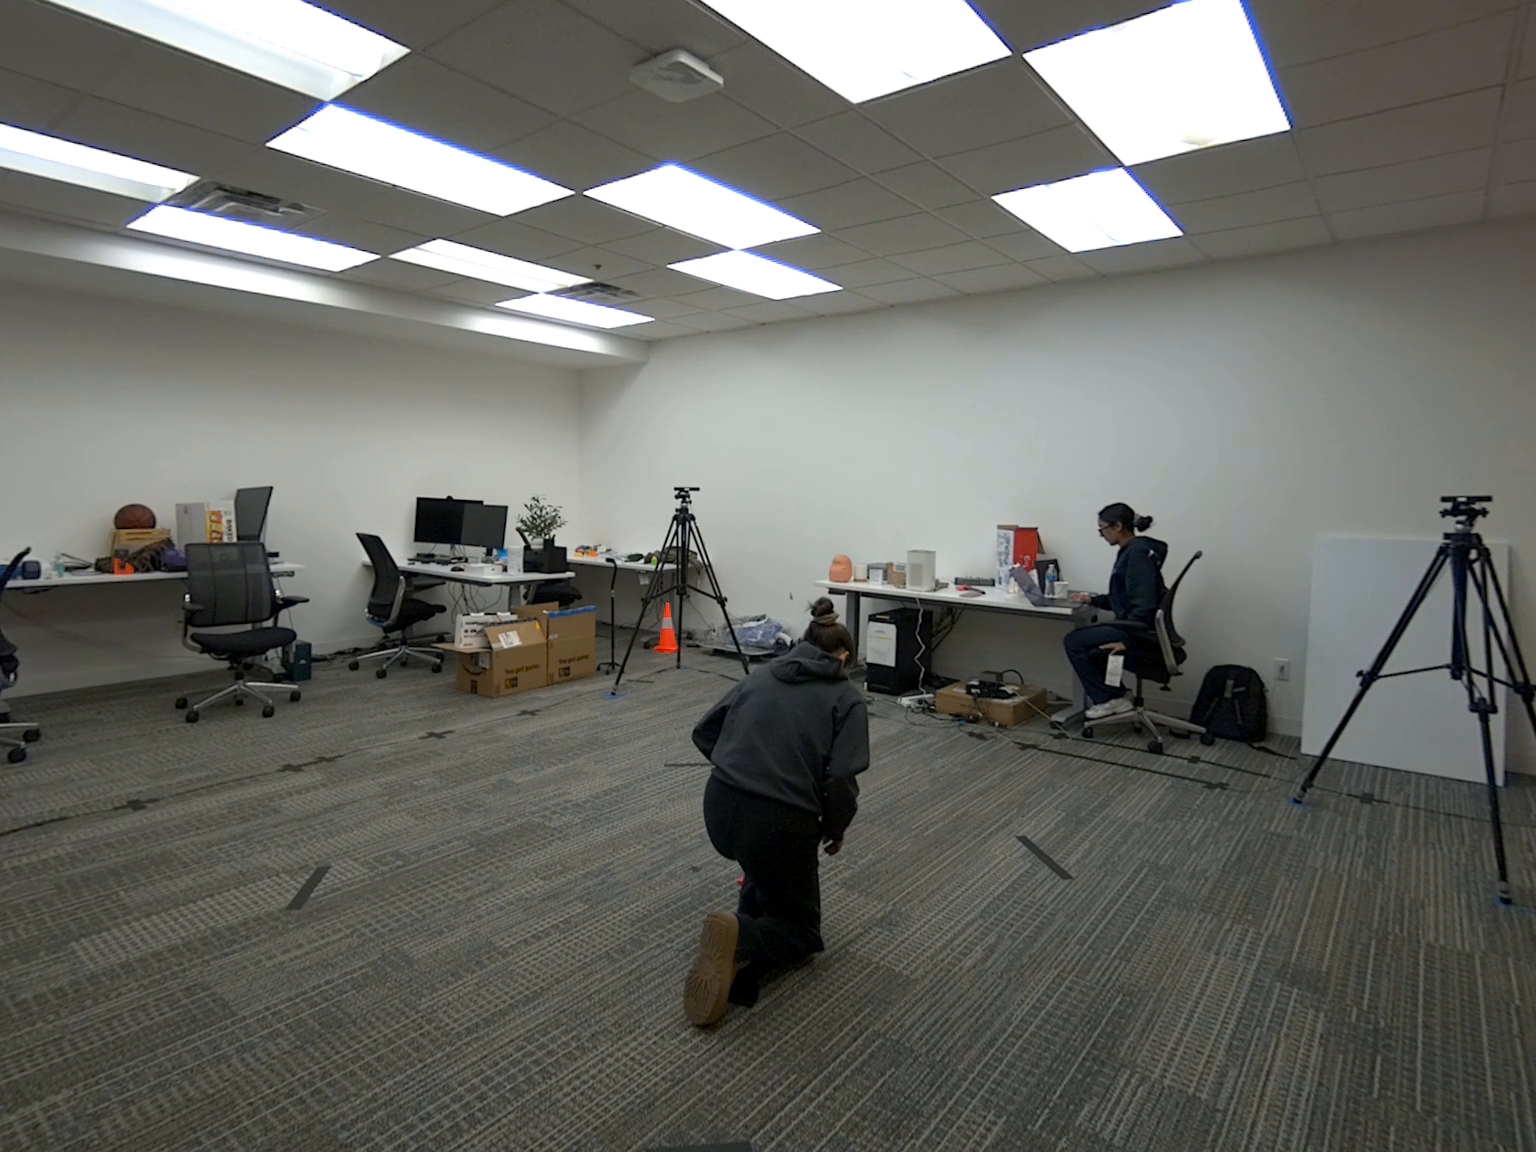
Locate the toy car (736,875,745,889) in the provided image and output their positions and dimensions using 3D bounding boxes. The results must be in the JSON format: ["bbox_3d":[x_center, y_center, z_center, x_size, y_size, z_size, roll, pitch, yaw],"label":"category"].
[{"bbox_3d":[0.013,1.050,2.964,0.135,0.083,0.245,6,-4,43],"label":"toy car"}]
